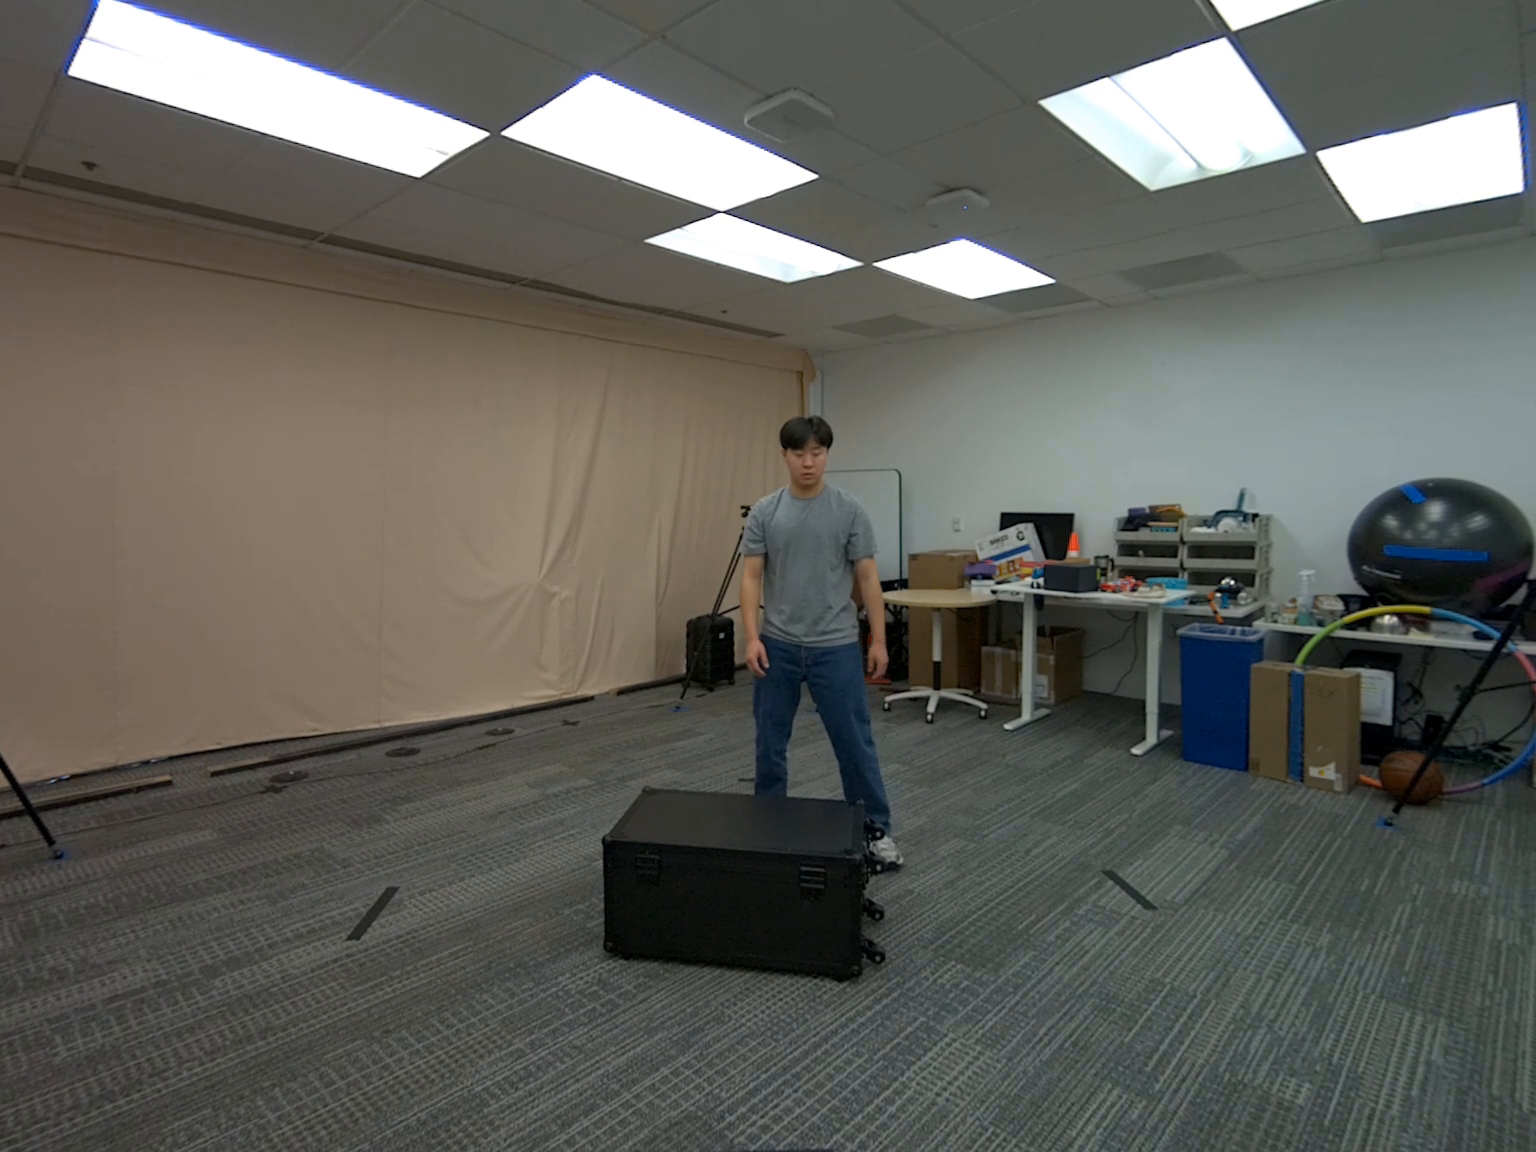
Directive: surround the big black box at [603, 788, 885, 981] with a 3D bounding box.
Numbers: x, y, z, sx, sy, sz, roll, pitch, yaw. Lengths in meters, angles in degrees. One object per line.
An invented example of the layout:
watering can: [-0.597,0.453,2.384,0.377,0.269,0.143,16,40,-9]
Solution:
big black box: [-0.056,0.976,2.731,0.871,0.395,0.516,1,4,10]
